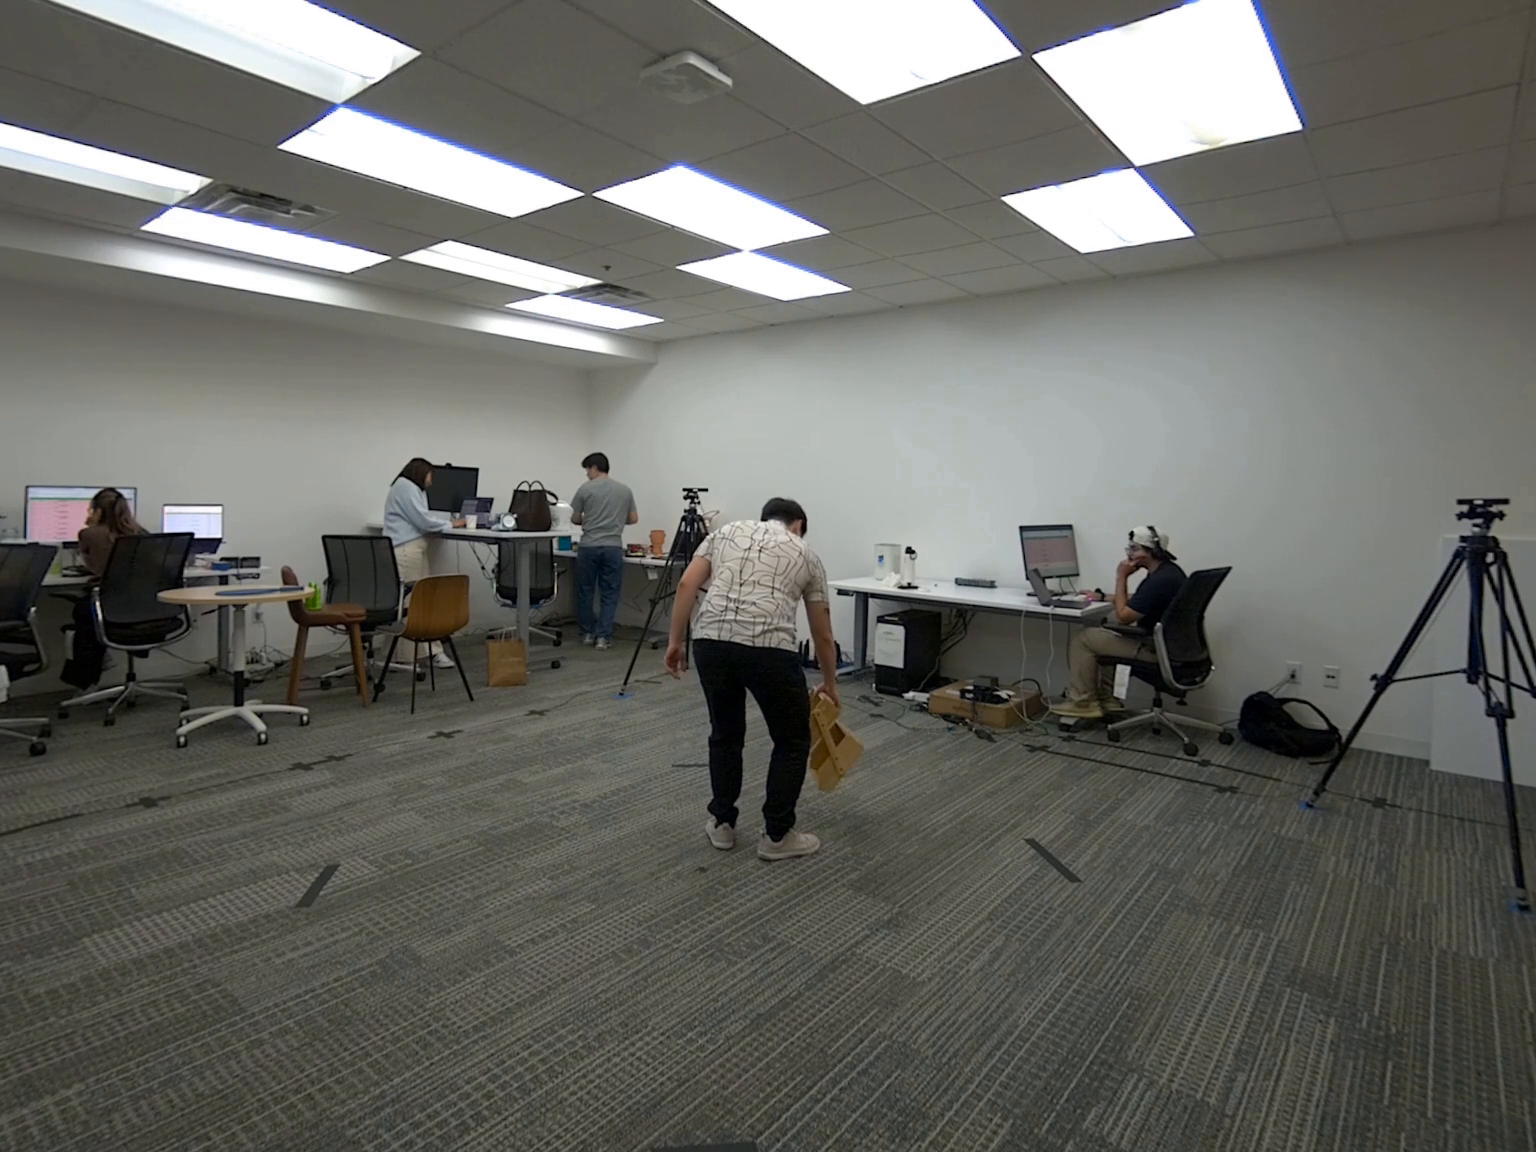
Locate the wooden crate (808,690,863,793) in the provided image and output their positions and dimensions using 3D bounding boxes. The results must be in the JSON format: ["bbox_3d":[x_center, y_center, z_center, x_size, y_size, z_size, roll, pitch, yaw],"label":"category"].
[{"bbox_3d":[0.202,0.687,3.602,0.272,0.302,0.326,39,-2,-4],"label":"wooden crate"}]
